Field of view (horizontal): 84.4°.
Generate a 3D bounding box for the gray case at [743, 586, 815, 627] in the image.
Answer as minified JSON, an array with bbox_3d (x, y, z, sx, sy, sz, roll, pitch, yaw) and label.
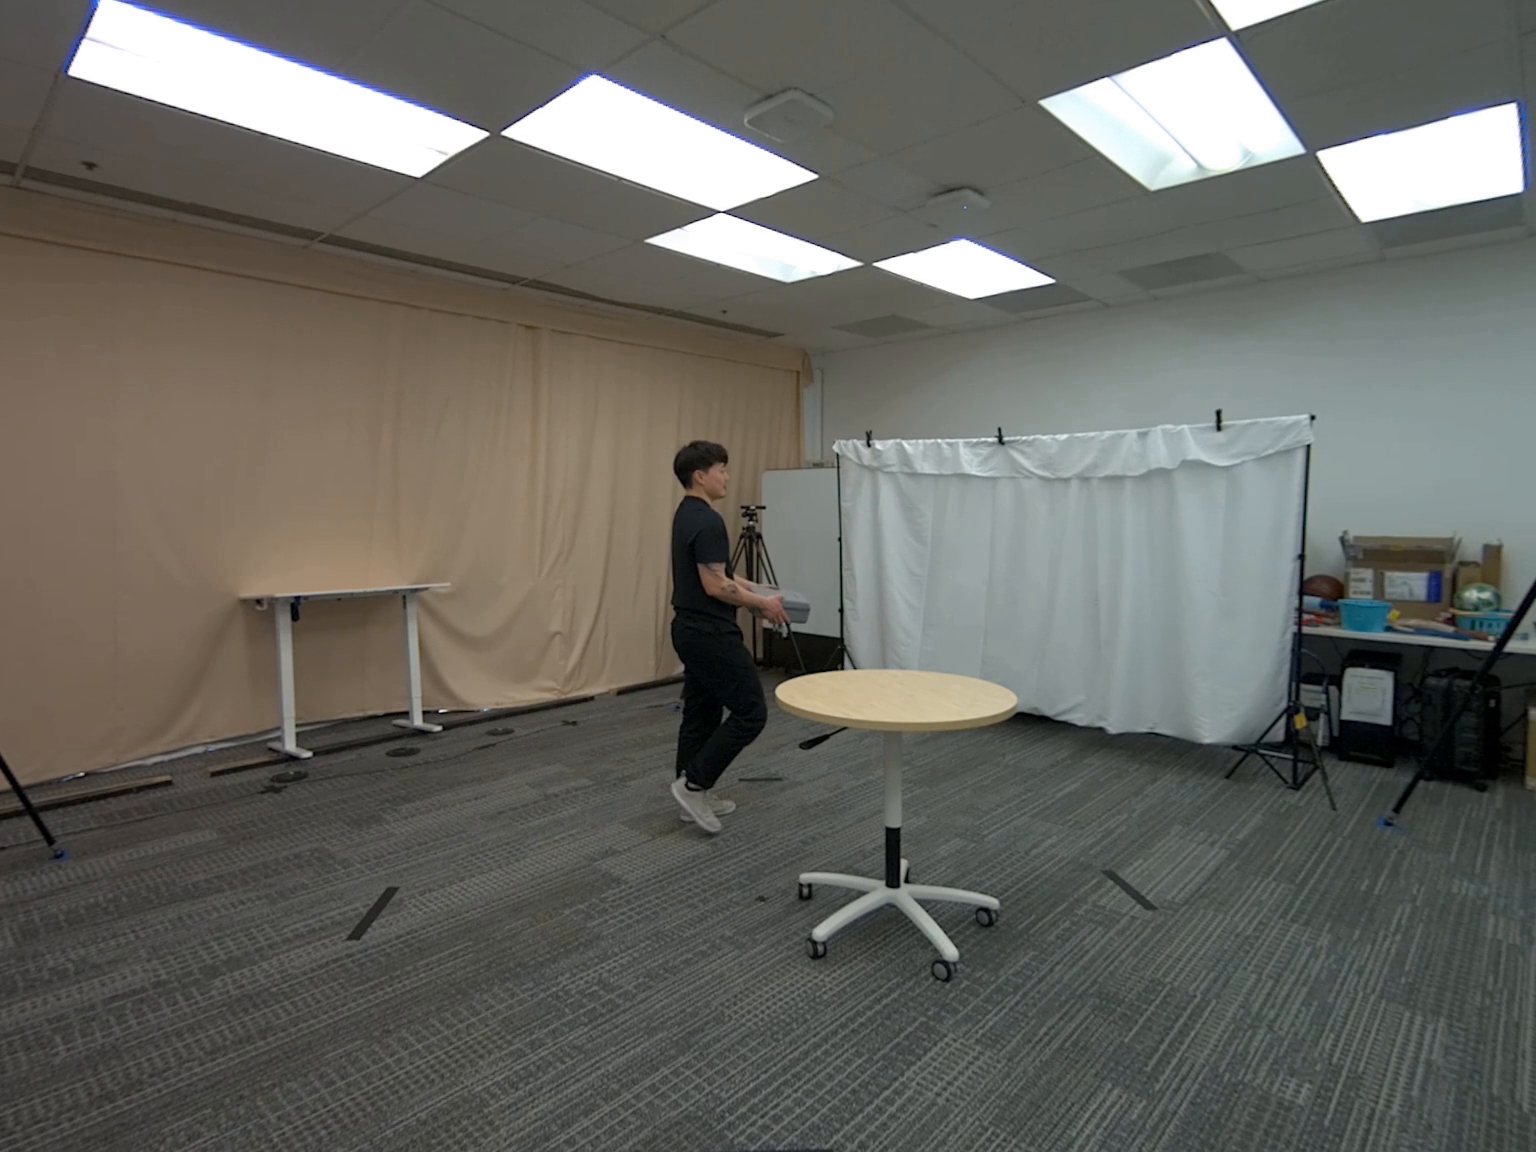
[{"bbox_3d":[0.039,0.126,3.732,0.258,0.104,0.260,5,9,-9],"label":"gray case"}]
